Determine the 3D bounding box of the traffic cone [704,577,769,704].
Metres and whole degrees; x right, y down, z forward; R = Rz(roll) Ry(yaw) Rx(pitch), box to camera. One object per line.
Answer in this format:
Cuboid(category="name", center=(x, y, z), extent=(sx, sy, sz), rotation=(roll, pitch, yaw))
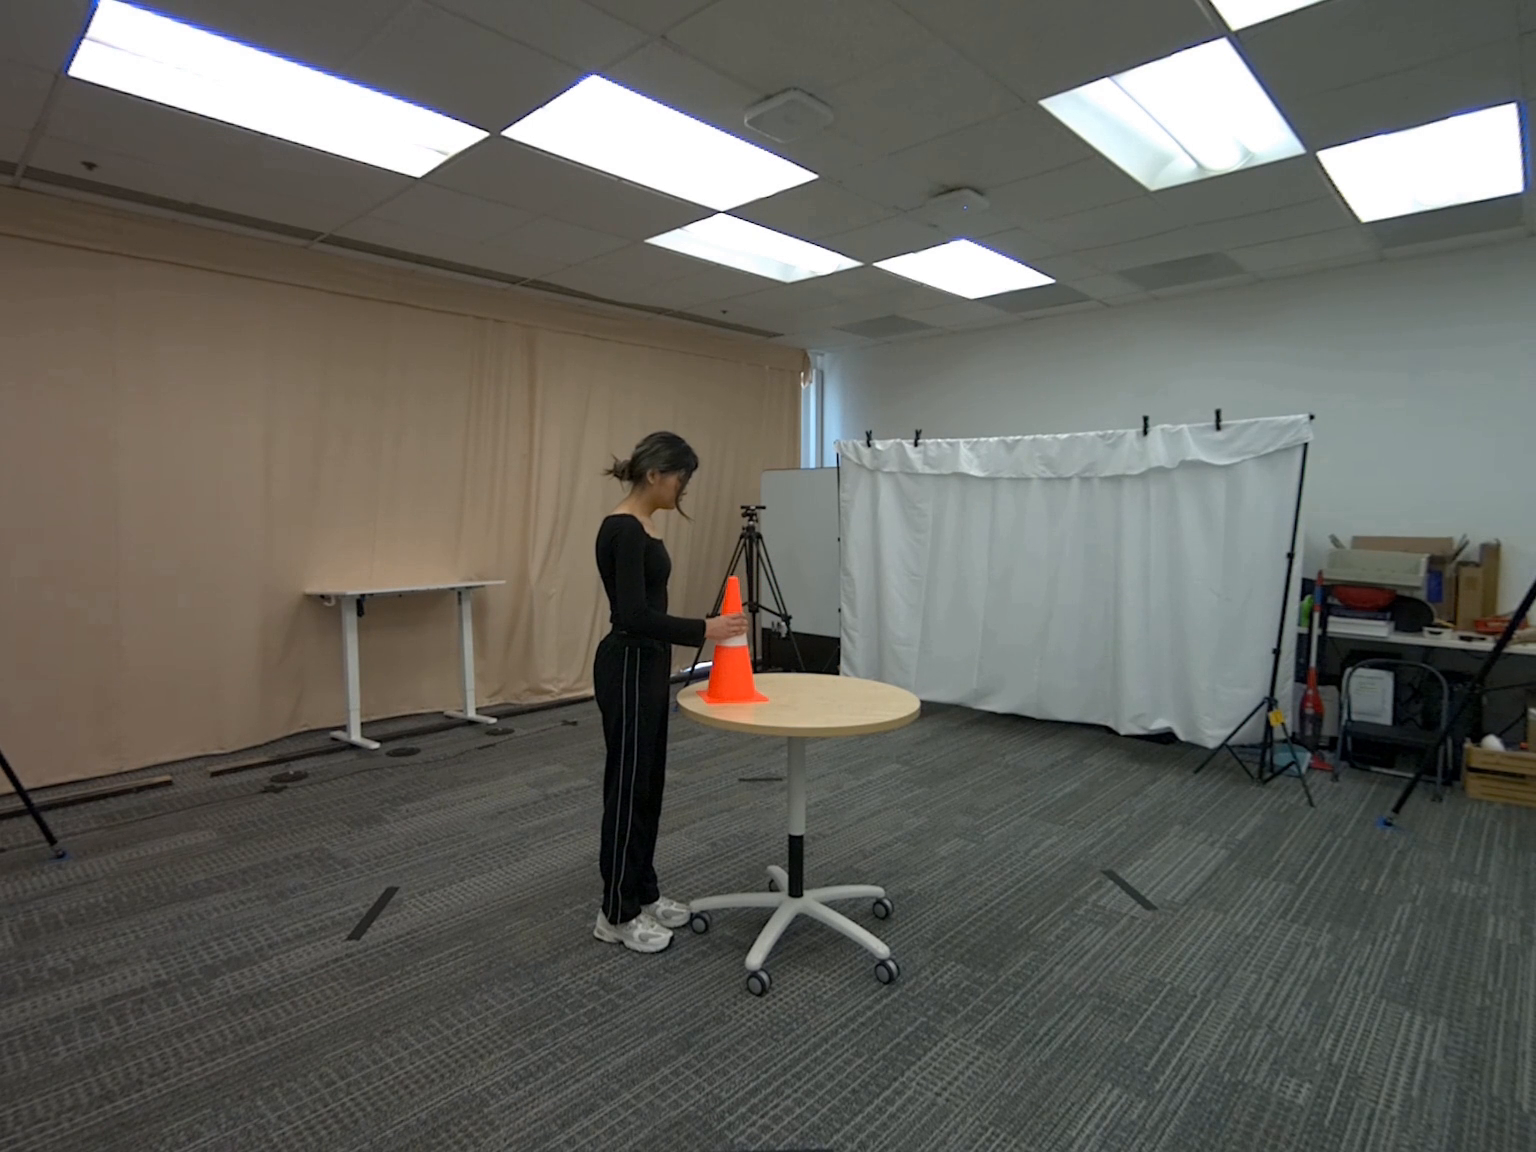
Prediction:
Cuboid(category="traffic cone", center=(-0.116, 0.197, 2.668), extent=(0.201, 0.383, 0.208), rotation=(-1, 3, -11))
